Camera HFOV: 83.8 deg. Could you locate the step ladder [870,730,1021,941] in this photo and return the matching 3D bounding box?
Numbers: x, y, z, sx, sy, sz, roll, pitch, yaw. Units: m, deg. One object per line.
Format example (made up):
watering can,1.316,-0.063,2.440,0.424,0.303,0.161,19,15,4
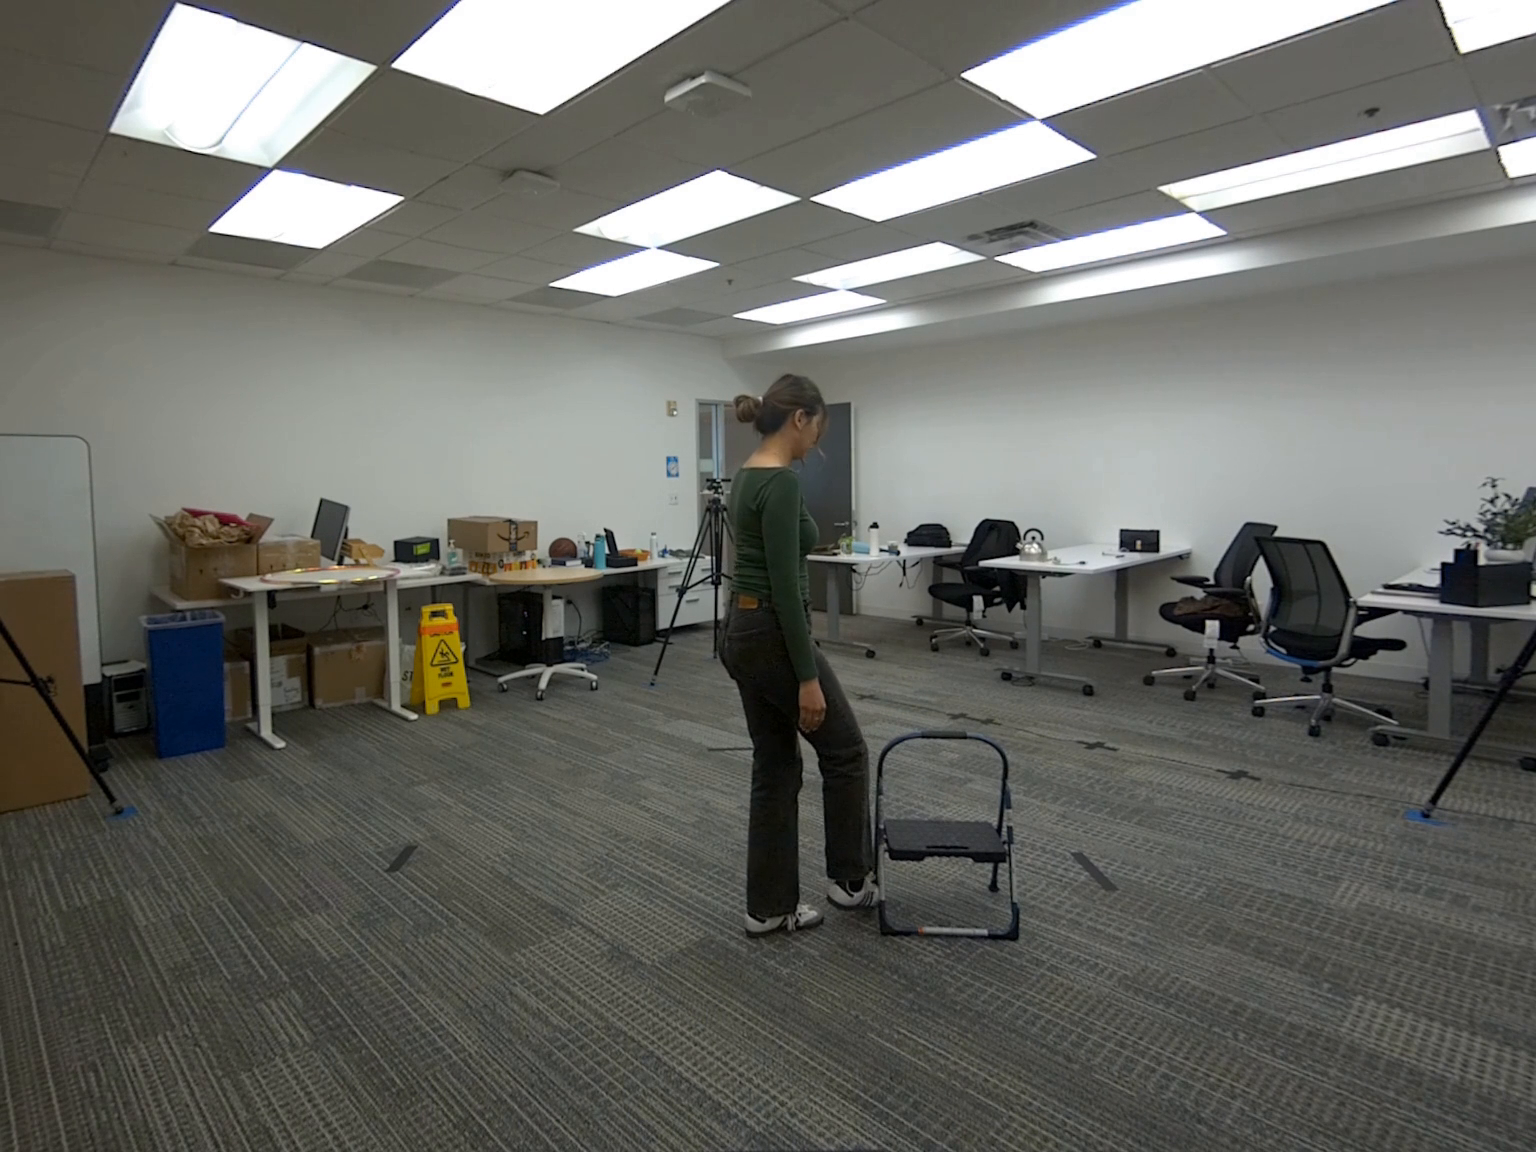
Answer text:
step ladder,0.555,0.776,2.728,0.433,0.604,0.349,-1,4,4
